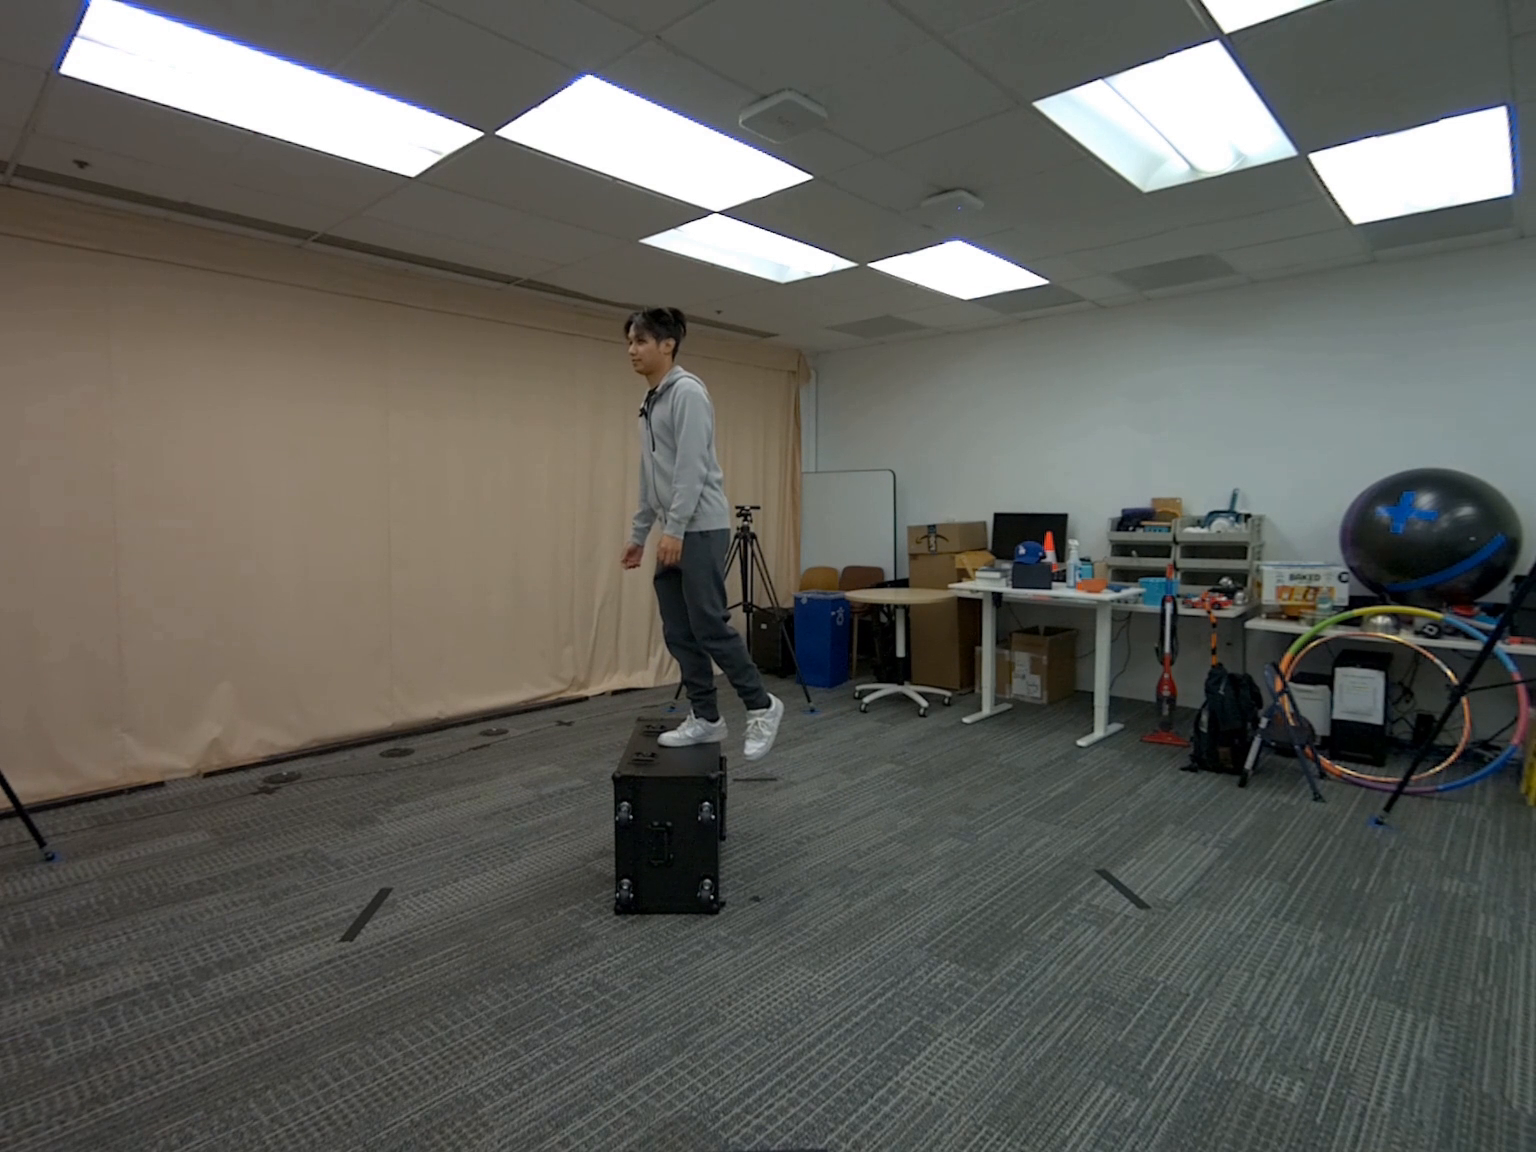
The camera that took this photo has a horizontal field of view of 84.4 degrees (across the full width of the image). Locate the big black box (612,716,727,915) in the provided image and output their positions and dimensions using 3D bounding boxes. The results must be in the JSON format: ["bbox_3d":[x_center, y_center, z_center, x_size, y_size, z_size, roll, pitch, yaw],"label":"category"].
[{"bbox_3d":[-0.348,0.885,3.212,0.396,0.520,0.863,0,4,-1],"label":"big black box"}]
